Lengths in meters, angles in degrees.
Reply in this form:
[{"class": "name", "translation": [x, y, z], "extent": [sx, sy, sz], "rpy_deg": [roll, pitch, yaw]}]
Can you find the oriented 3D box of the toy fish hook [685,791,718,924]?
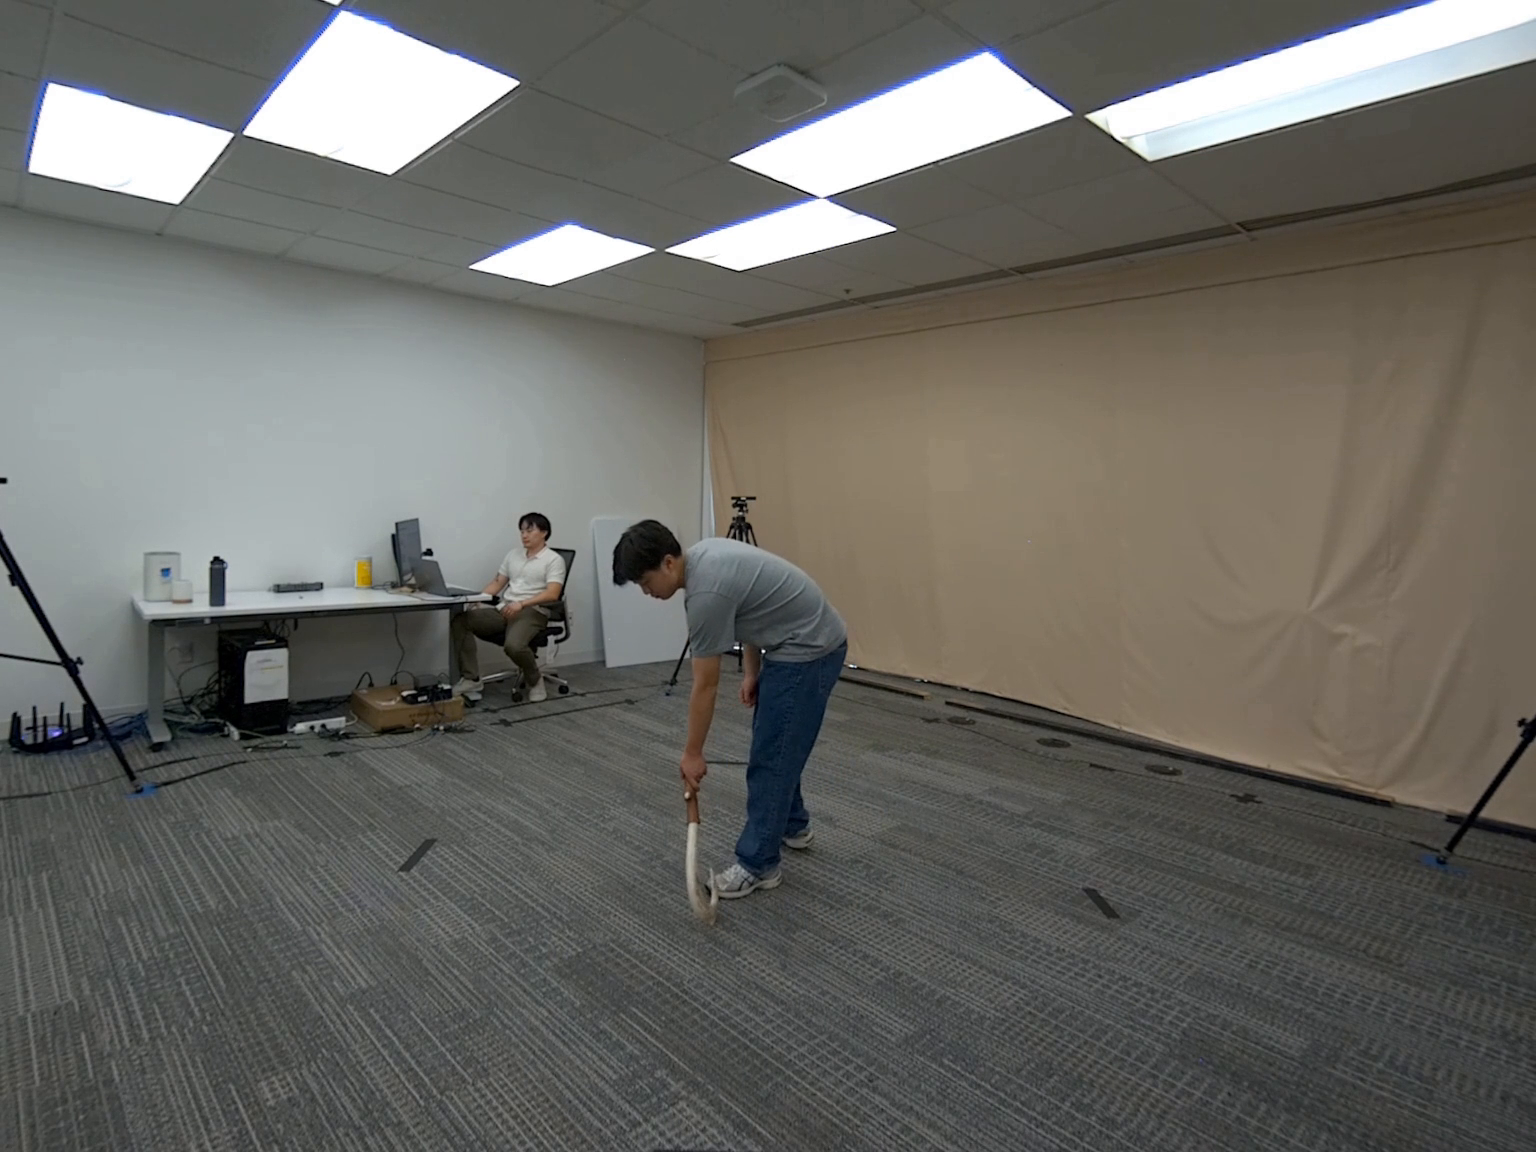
[{"class": "toy fish hook", "translation": [-0.241, 0.914, 2.868], "extent": [0.048, 0.519, 0.218], "rpy_deg": [-15, -38, 8]}]
